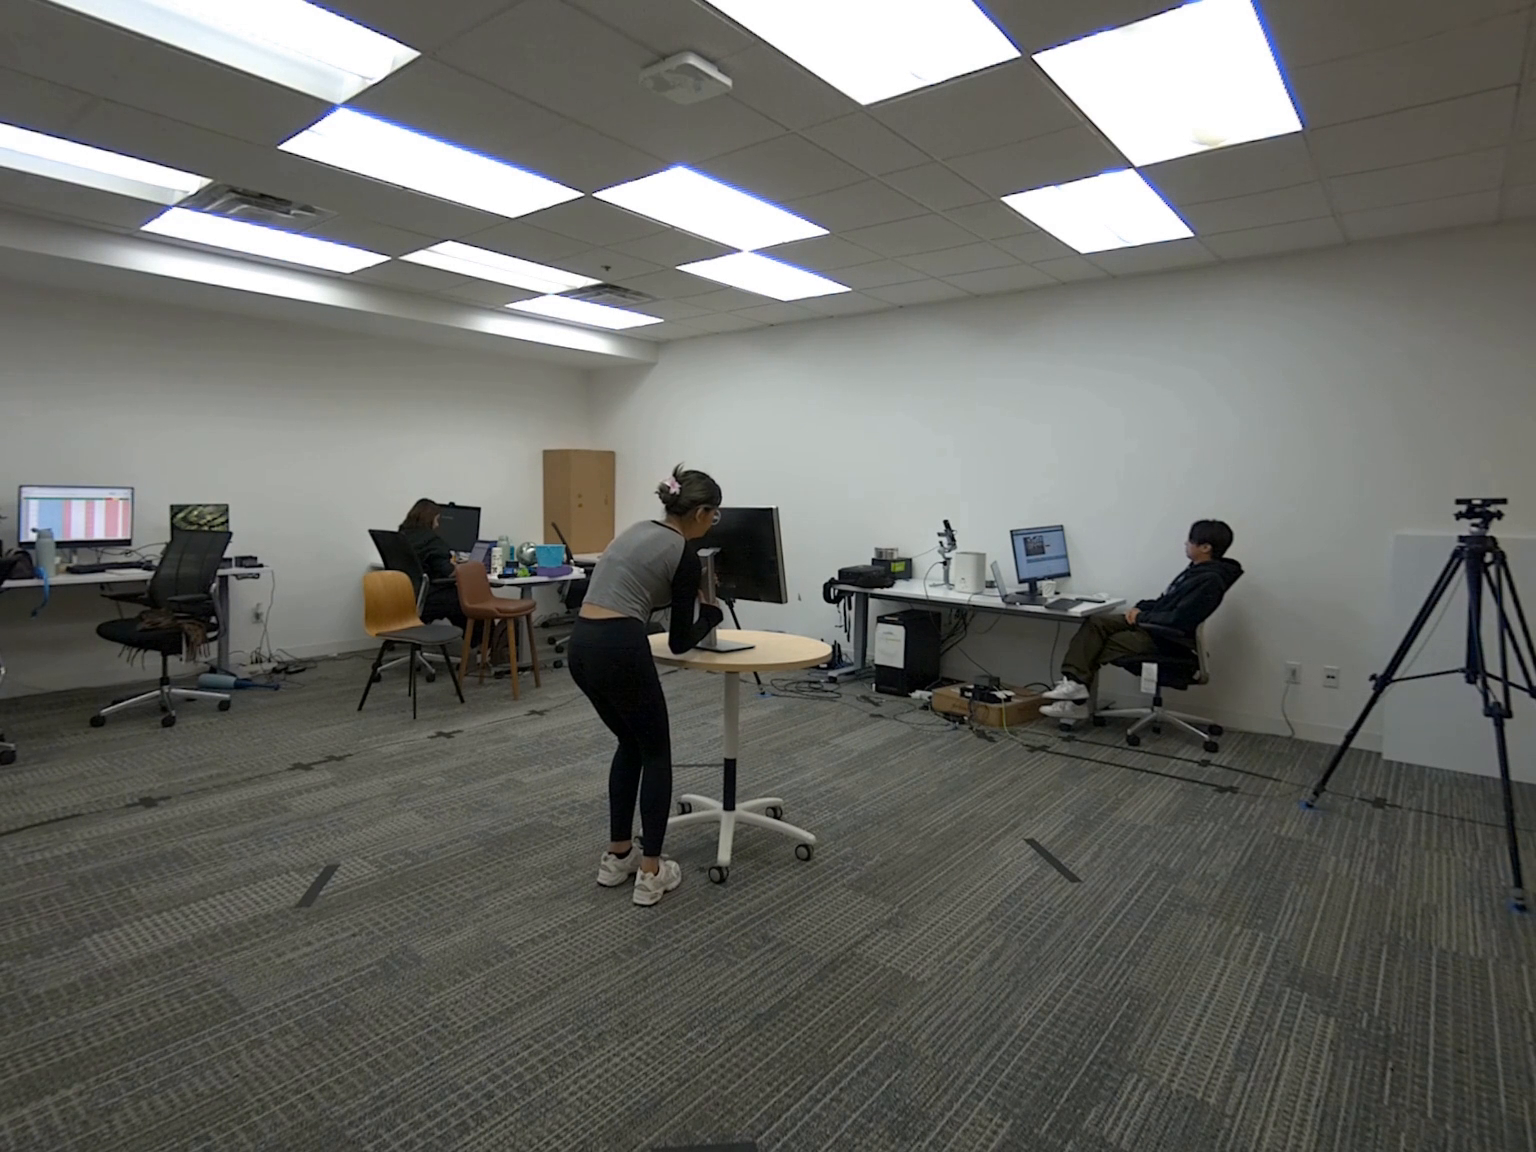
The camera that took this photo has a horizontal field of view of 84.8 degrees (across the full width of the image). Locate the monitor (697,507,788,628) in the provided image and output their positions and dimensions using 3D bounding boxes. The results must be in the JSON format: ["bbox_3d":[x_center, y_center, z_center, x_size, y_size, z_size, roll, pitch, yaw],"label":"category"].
[{"bbox_3d":[-0.198,0.001,3.251,0.557,0.522,0.181,4,2,40],"label":"monitor"}]
